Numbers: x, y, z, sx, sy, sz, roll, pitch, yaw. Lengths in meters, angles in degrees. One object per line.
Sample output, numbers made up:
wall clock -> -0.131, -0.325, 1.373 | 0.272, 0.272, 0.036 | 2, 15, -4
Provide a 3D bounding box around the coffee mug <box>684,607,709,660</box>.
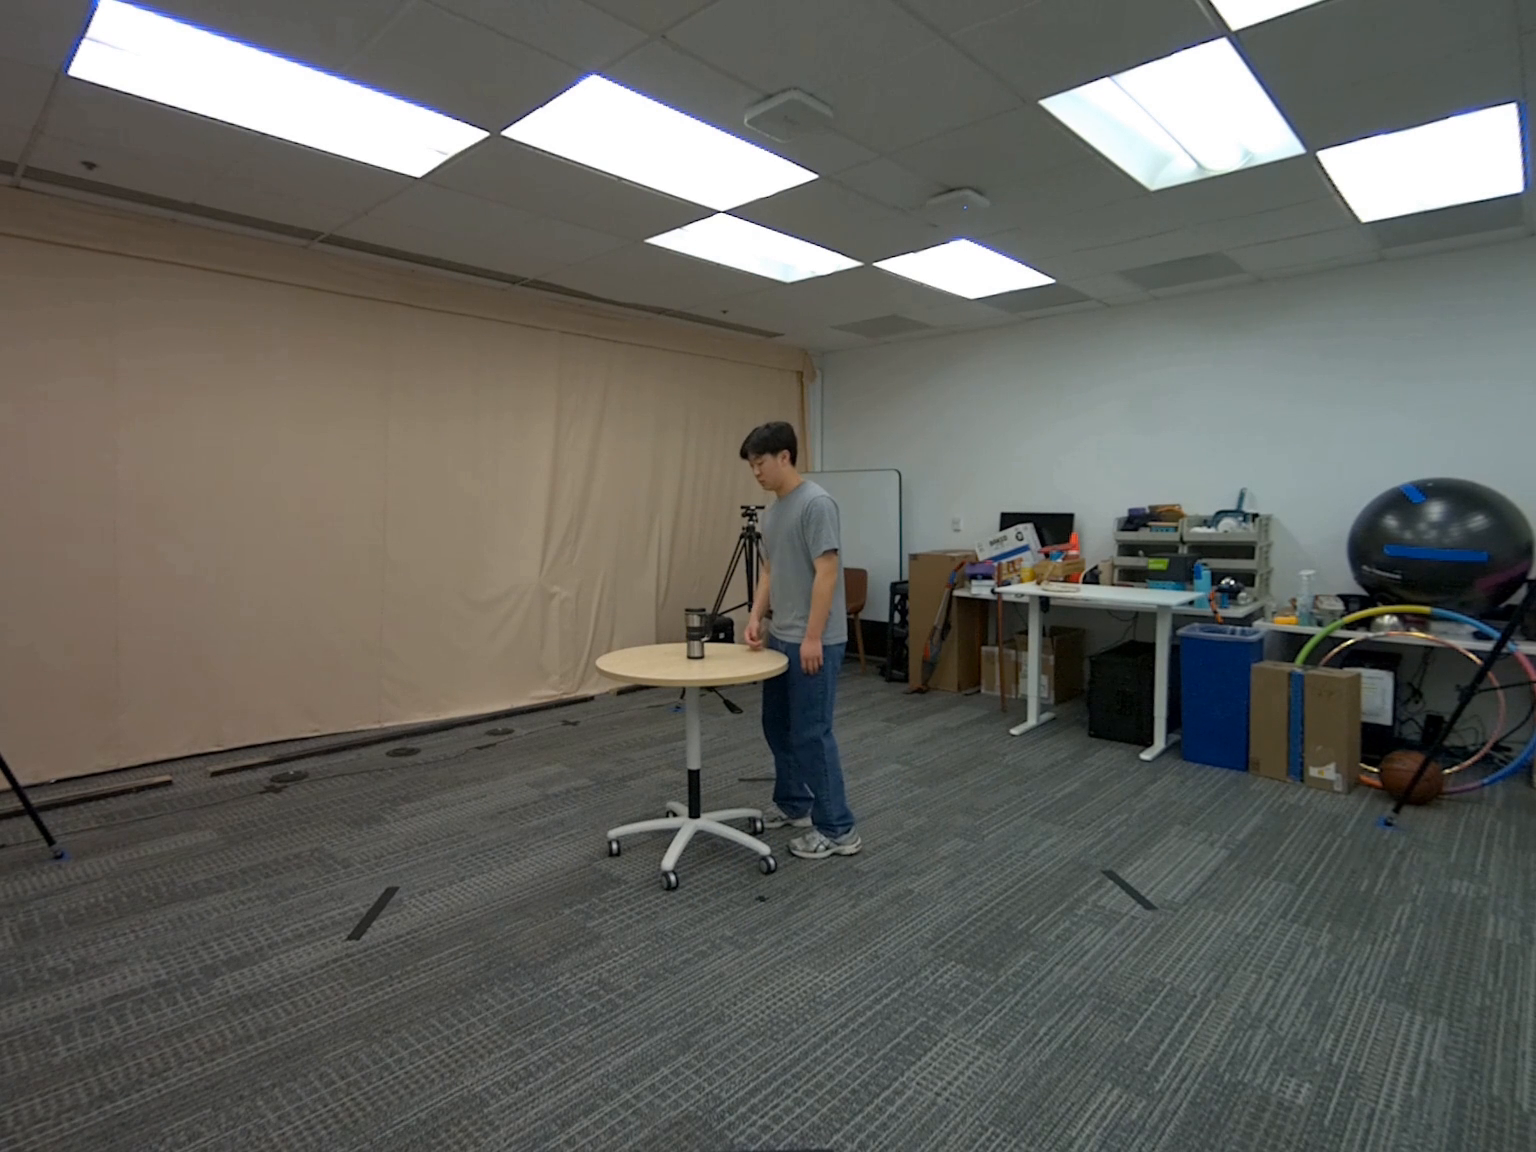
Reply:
coffee mug -> -0.277, 0.233, 3.370 | 0.085, 0.203, 0.126 | 3, -3, -42
